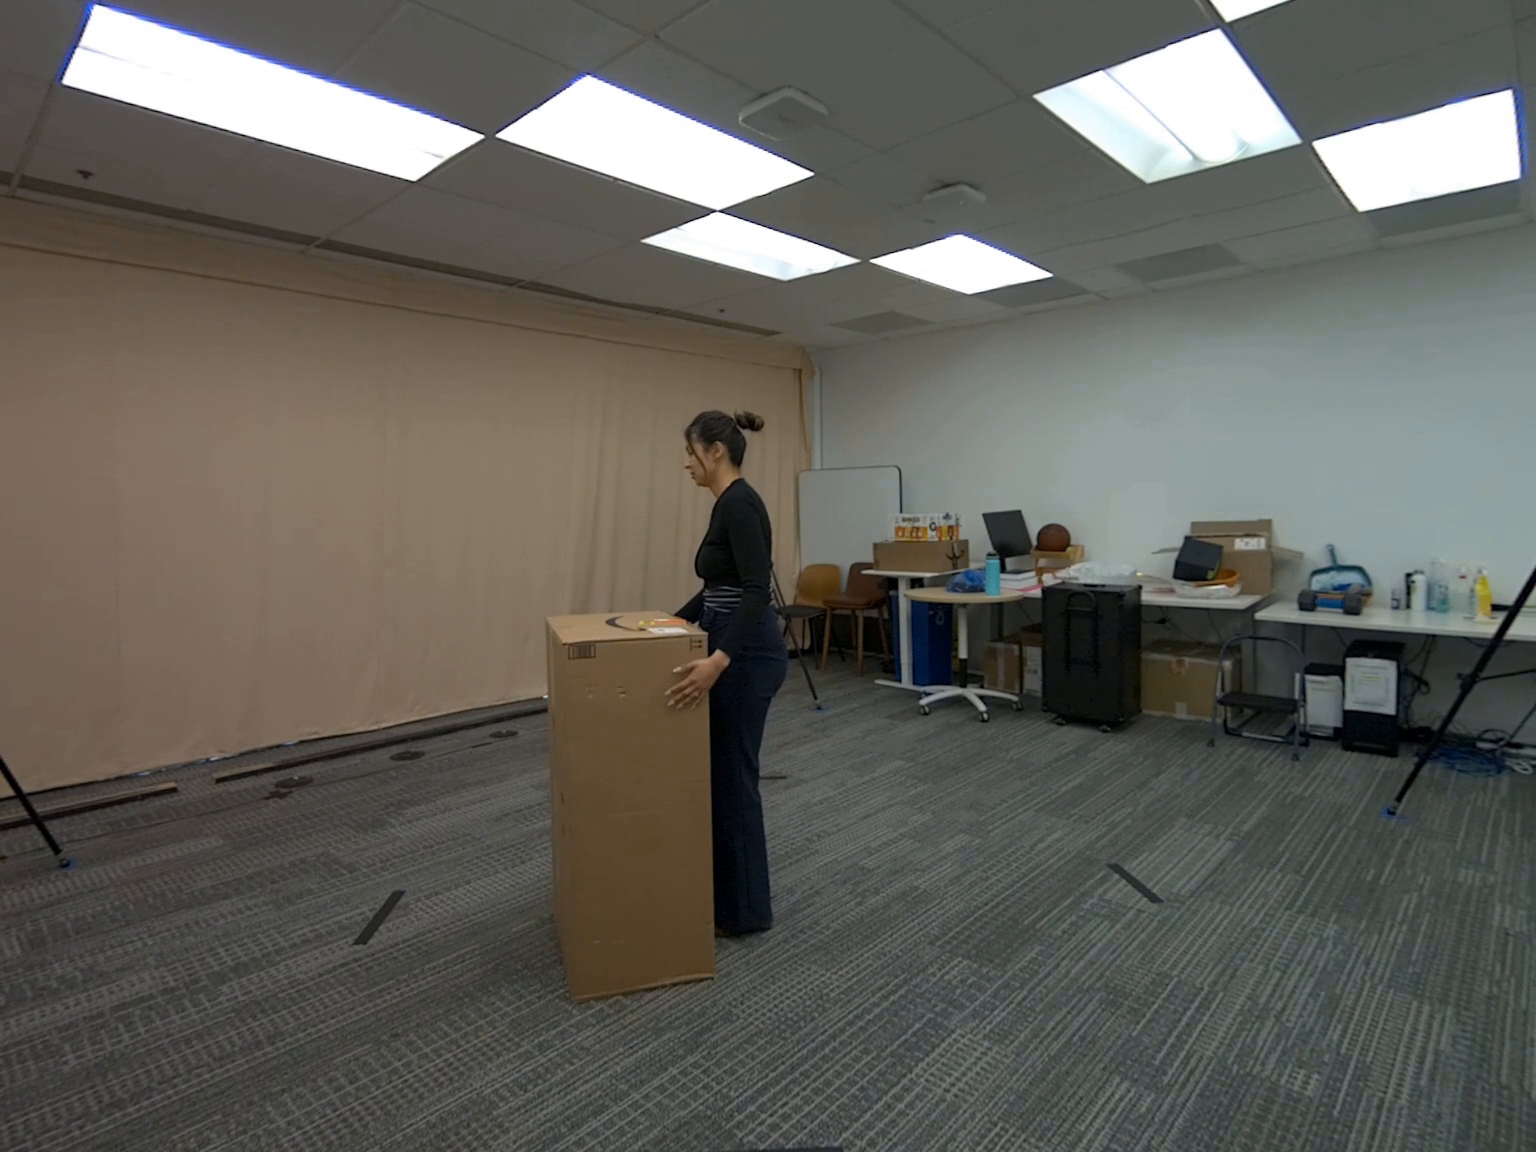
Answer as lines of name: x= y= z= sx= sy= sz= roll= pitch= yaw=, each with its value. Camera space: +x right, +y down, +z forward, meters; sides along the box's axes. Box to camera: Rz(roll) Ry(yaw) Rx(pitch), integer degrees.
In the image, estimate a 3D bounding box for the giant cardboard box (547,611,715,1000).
giant cardboard box: x=-0.455 y=0.668 z=2.673 sx=0.419 sy=1.024 sz=0.589 roll=-2 pitch=3 yaw=-18
